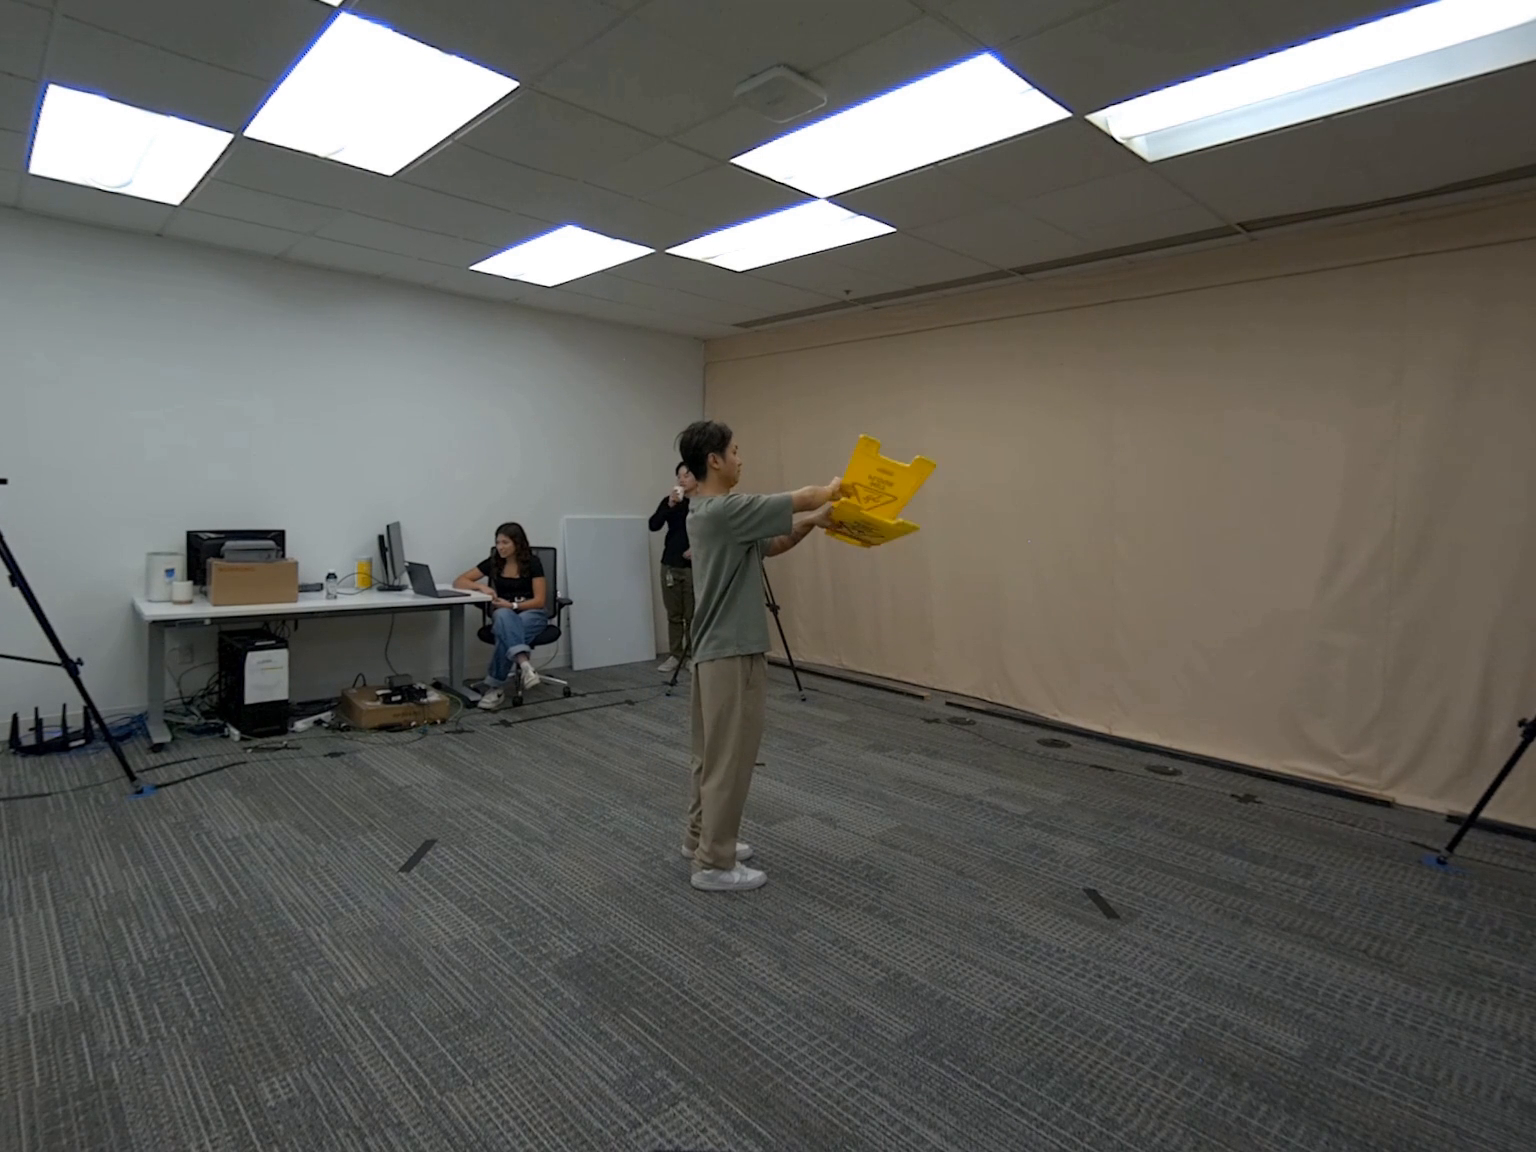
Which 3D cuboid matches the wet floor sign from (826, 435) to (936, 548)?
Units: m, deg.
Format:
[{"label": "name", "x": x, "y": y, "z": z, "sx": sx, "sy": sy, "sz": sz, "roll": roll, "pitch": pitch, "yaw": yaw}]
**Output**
[{"label": "wet floor sign", "x": 0.354, "y": -0.229, "z": 3.124, "sx": 0.282, "sy": 0.292, "sz": 0.642, "roll": 21, "pitch": -17, "yaw": -2}]
